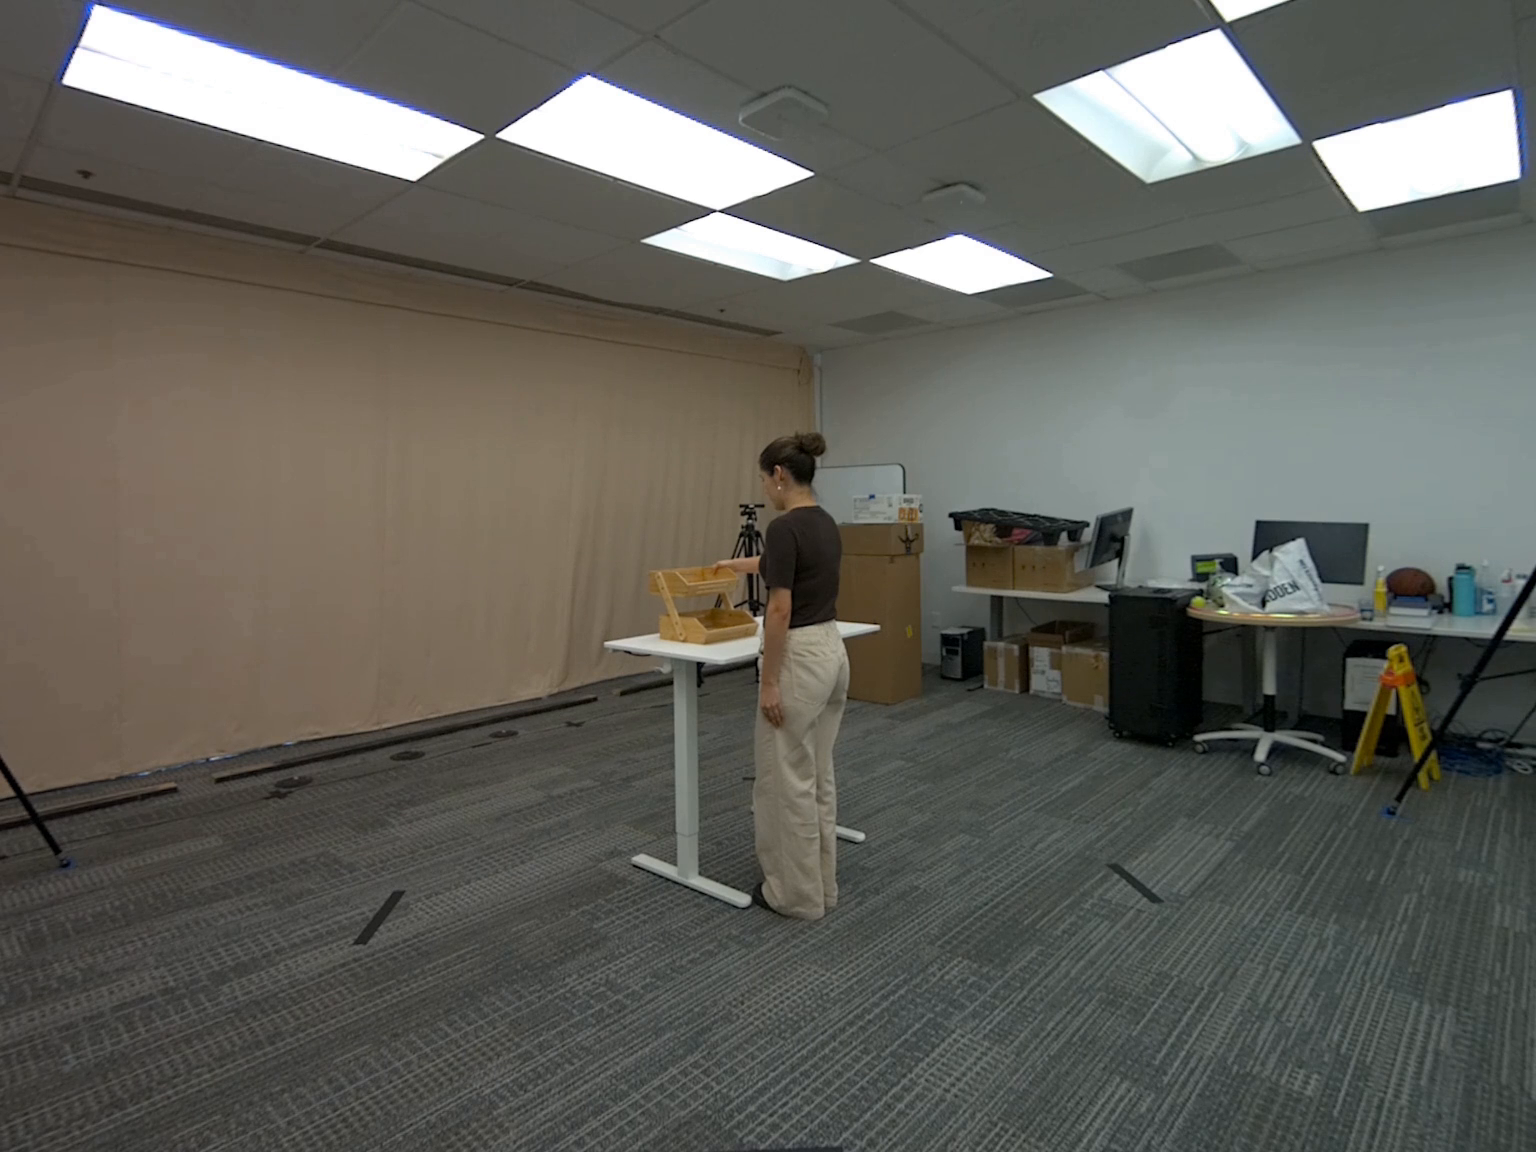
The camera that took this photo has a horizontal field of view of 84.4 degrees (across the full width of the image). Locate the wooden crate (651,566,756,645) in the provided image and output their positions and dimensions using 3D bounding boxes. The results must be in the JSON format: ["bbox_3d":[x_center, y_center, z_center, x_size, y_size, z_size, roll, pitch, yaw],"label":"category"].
[{"bbox_3d":[-0.244,0.104,3.270,0.312,0.273,0.314,1,4,41],"label":"wooden crate"}]
